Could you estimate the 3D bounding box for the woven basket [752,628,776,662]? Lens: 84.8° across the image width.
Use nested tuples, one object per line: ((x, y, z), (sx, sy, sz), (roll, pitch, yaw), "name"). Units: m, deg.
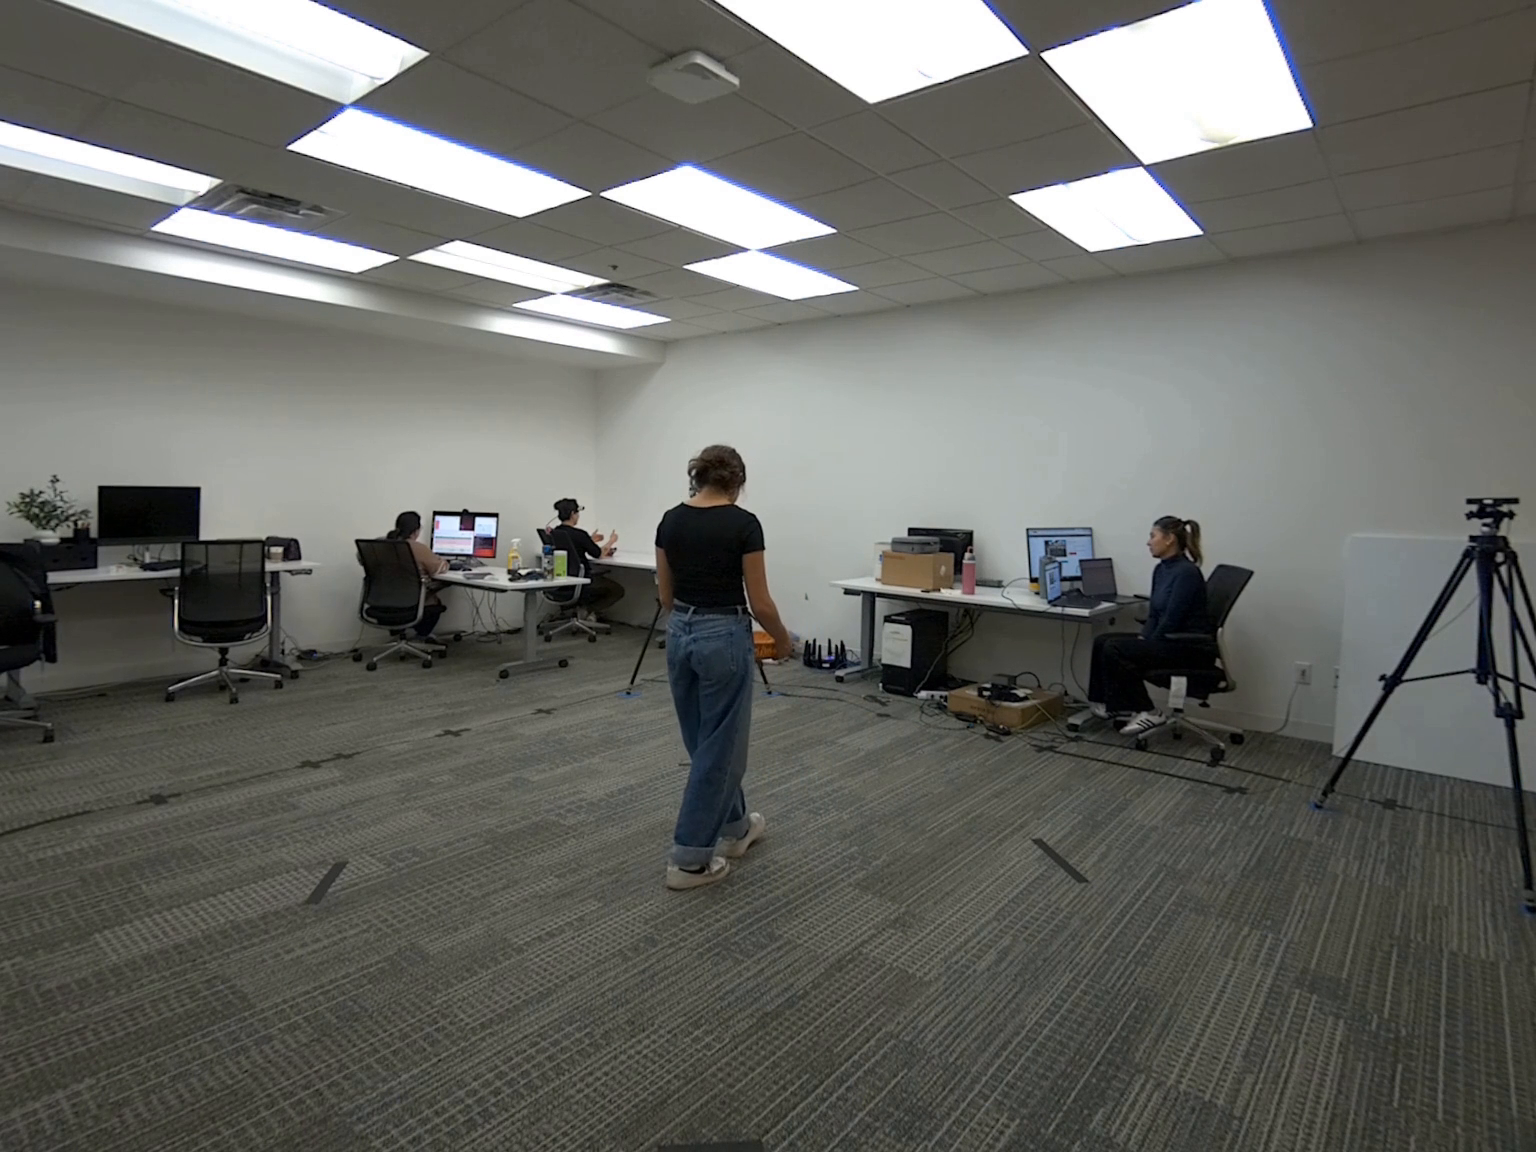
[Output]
((-0.083, 0.262, 3.233), (0.362, 0.073, 0.245), (4, 8, 37), "woven basket")
